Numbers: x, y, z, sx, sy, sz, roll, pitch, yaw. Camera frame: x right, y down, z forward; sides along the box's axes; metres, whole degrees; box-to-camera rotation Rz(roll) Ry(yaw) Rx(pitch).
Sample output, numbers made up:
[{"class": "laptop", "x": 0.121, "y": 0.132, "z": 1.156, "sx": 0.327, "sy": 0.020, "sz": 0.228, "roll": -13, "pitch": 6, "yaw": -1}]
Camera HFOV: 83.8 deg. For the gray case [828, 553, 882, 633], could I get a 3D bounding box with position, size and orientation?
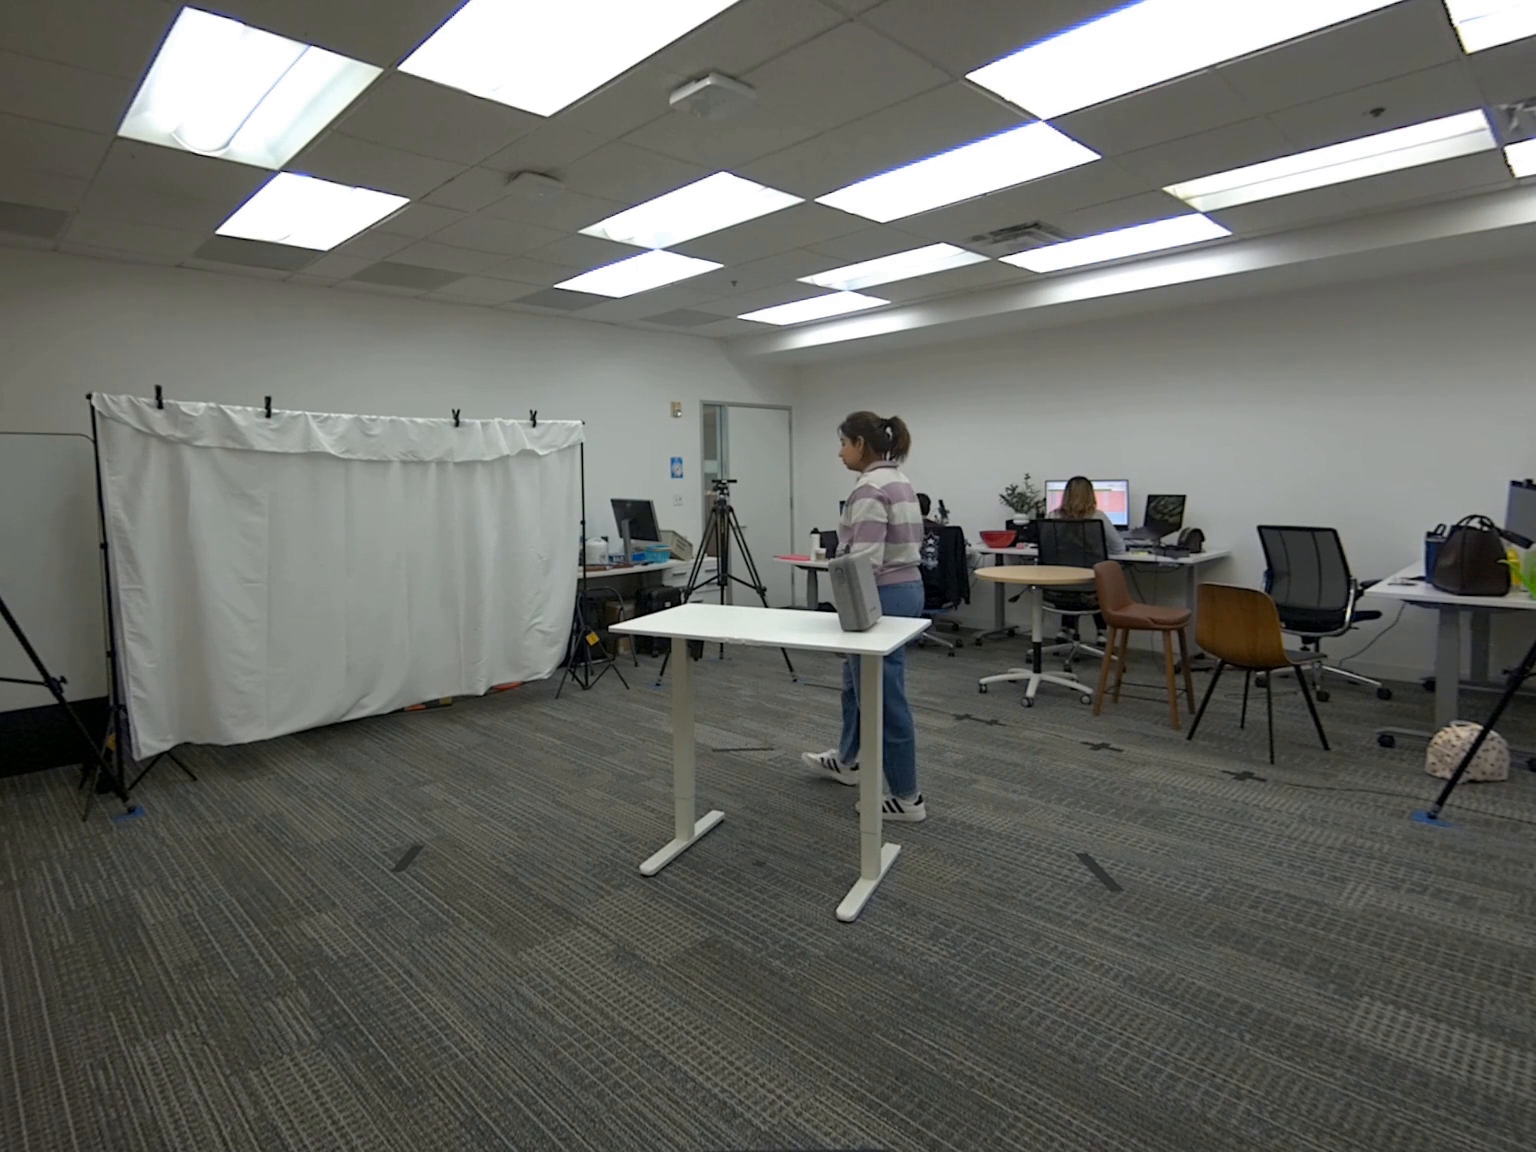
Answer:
[{"class": "gray case", "x": 0.304, "y": 0.048, "z": 2.959, "sx": 0.106, "sy": 0.261, "sz": 0.253, "roll": -11, "pitch": 0, "yaw": 18}]
